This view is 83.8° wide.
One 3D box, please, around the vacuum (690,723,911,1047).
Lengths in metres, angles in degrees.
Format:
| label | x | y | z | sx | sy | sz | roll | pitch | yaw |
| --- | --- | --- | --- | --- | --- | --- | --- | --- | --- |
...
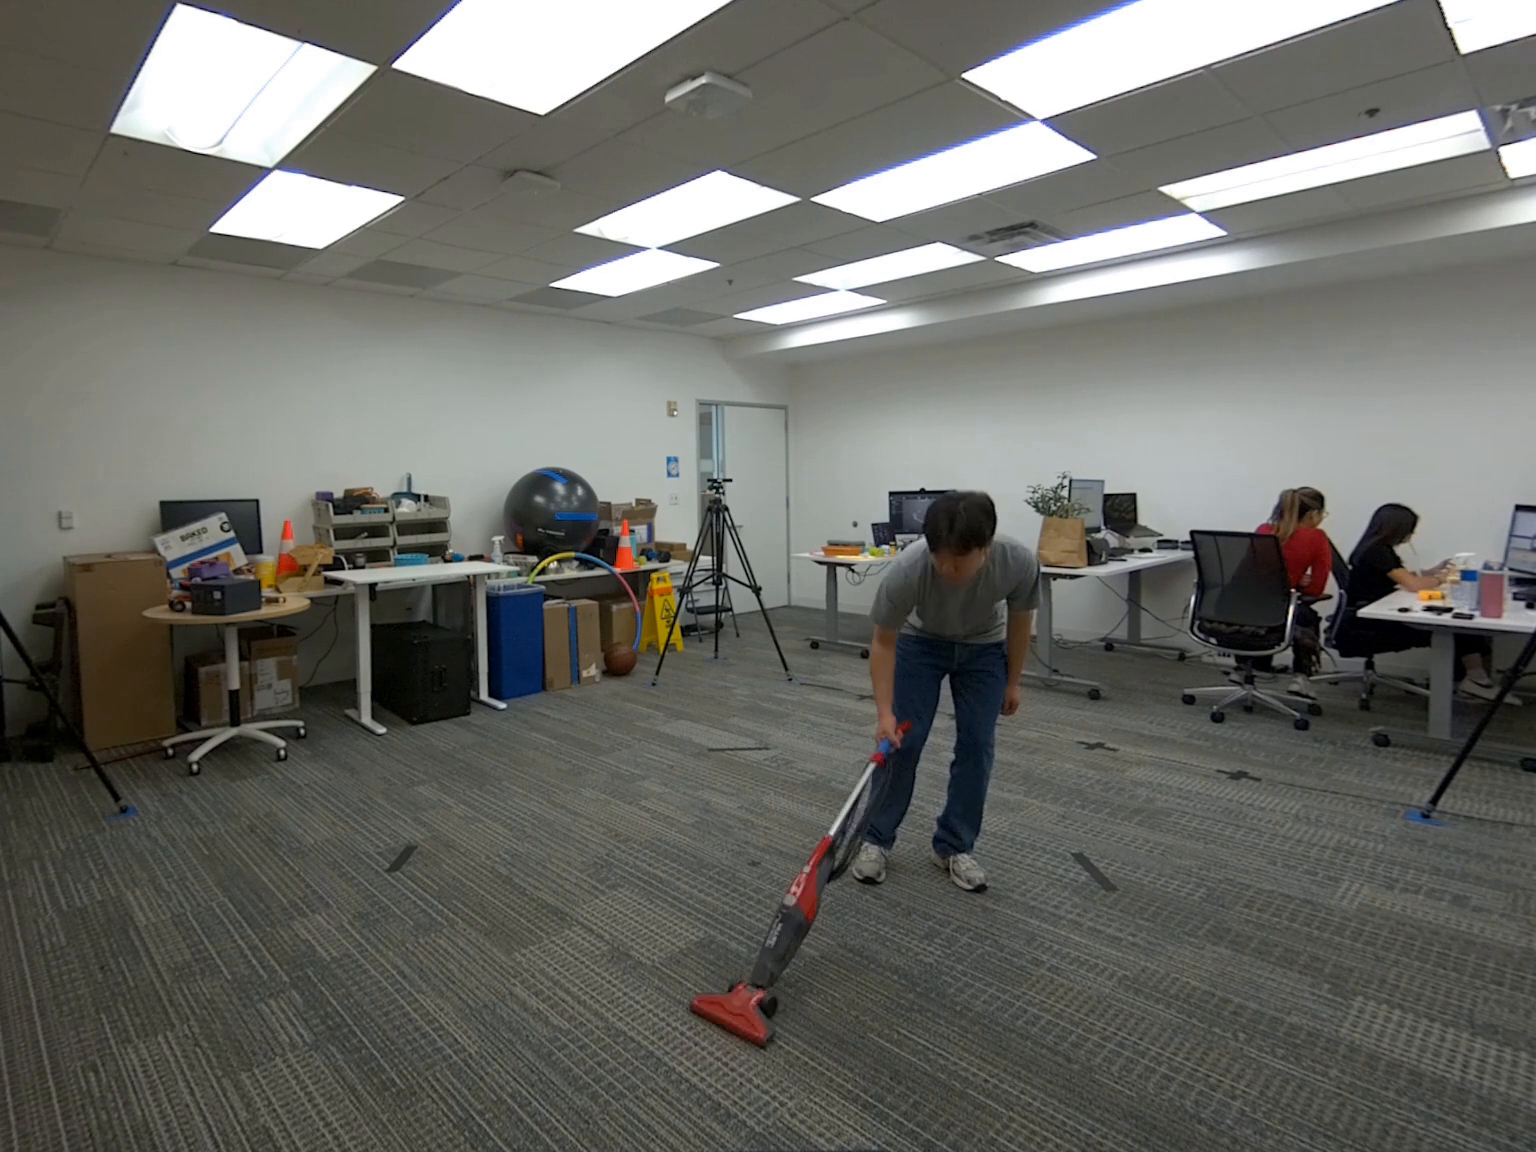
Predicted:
| label | x | y | z | sx | sy | sz | roll | pitch | yaw |
| --- | --- | --- | --- | --- | --- | --- | --- | --- | --- |
| vacuum | 0.209 | 0.828 | 2.542 | 0.260 | 0.140 | 1.048 | -1 | 34 | 40 |
